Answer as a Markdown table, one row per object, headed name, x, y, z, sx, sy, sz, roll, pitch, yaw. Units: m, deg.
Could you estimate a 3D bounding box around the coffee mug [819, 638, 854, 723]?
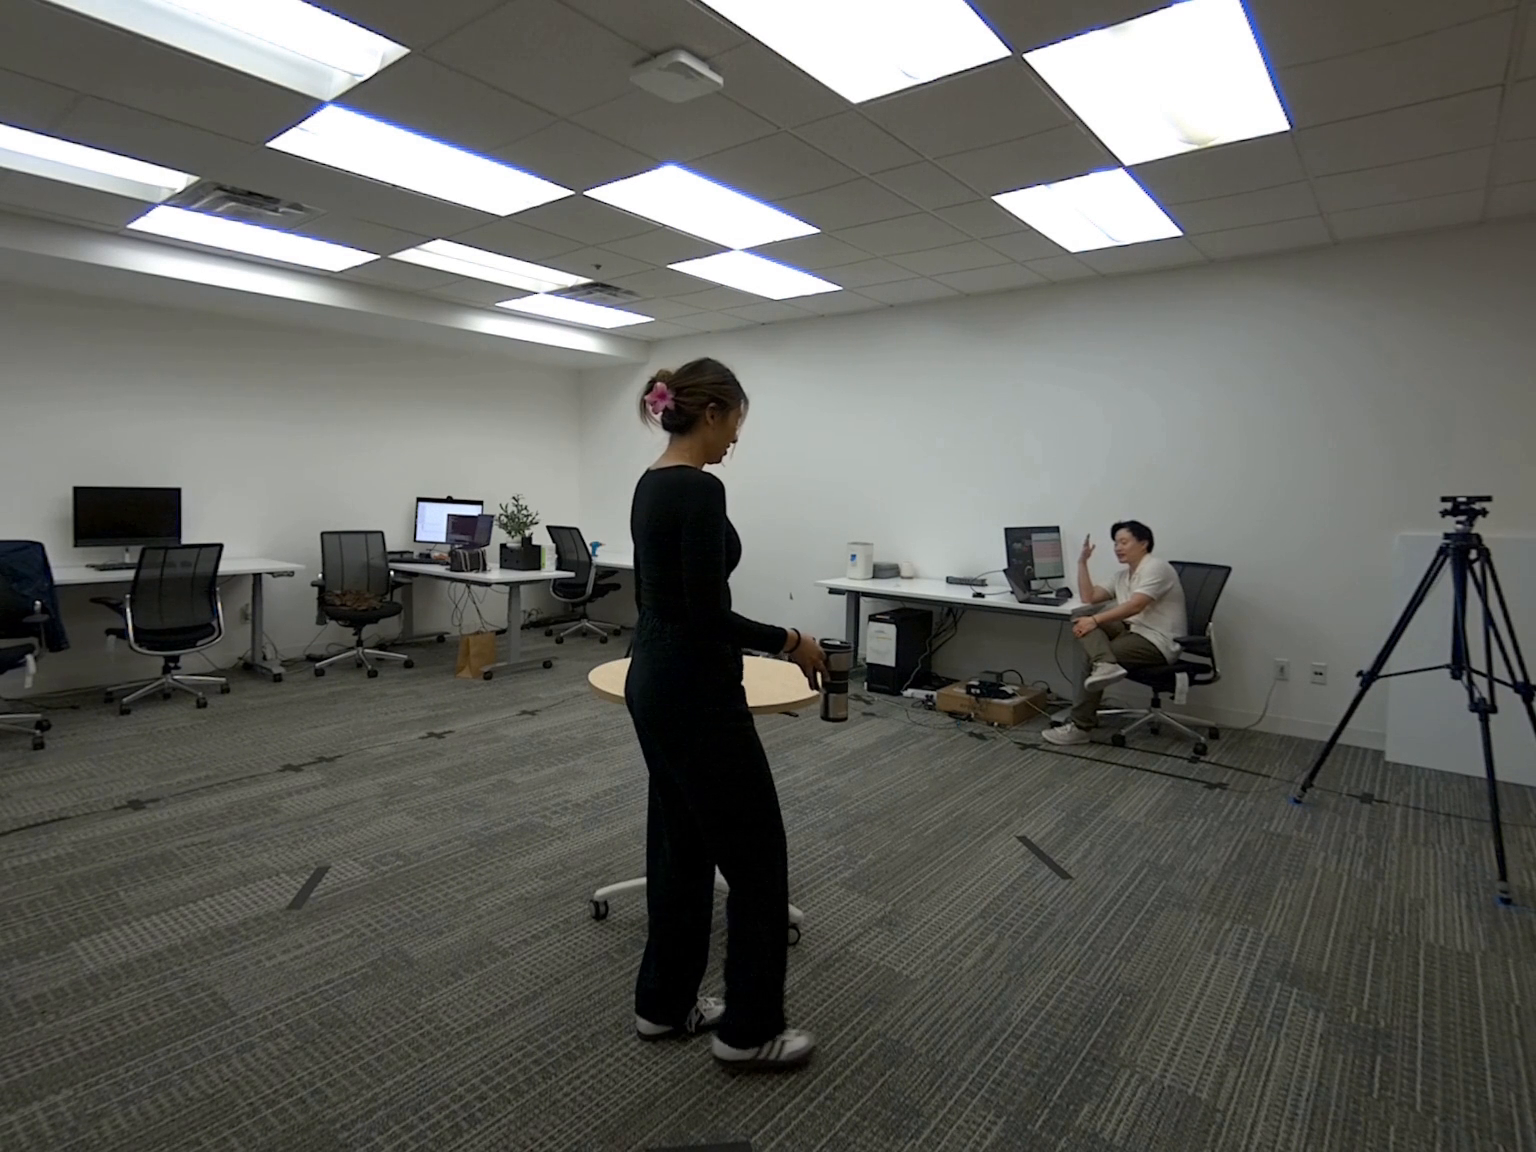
| name | x | y | z | sx | sy | sz | roll | pitch | yaw |
| --- | --- | --- | --- | --- | --- | --- | --- | --- | --- |
| coffee mug | 0.175 | 0.274 | 2.185 | 0.090 | 0.202 | 0.120 | 1 | 3 | 20 |
